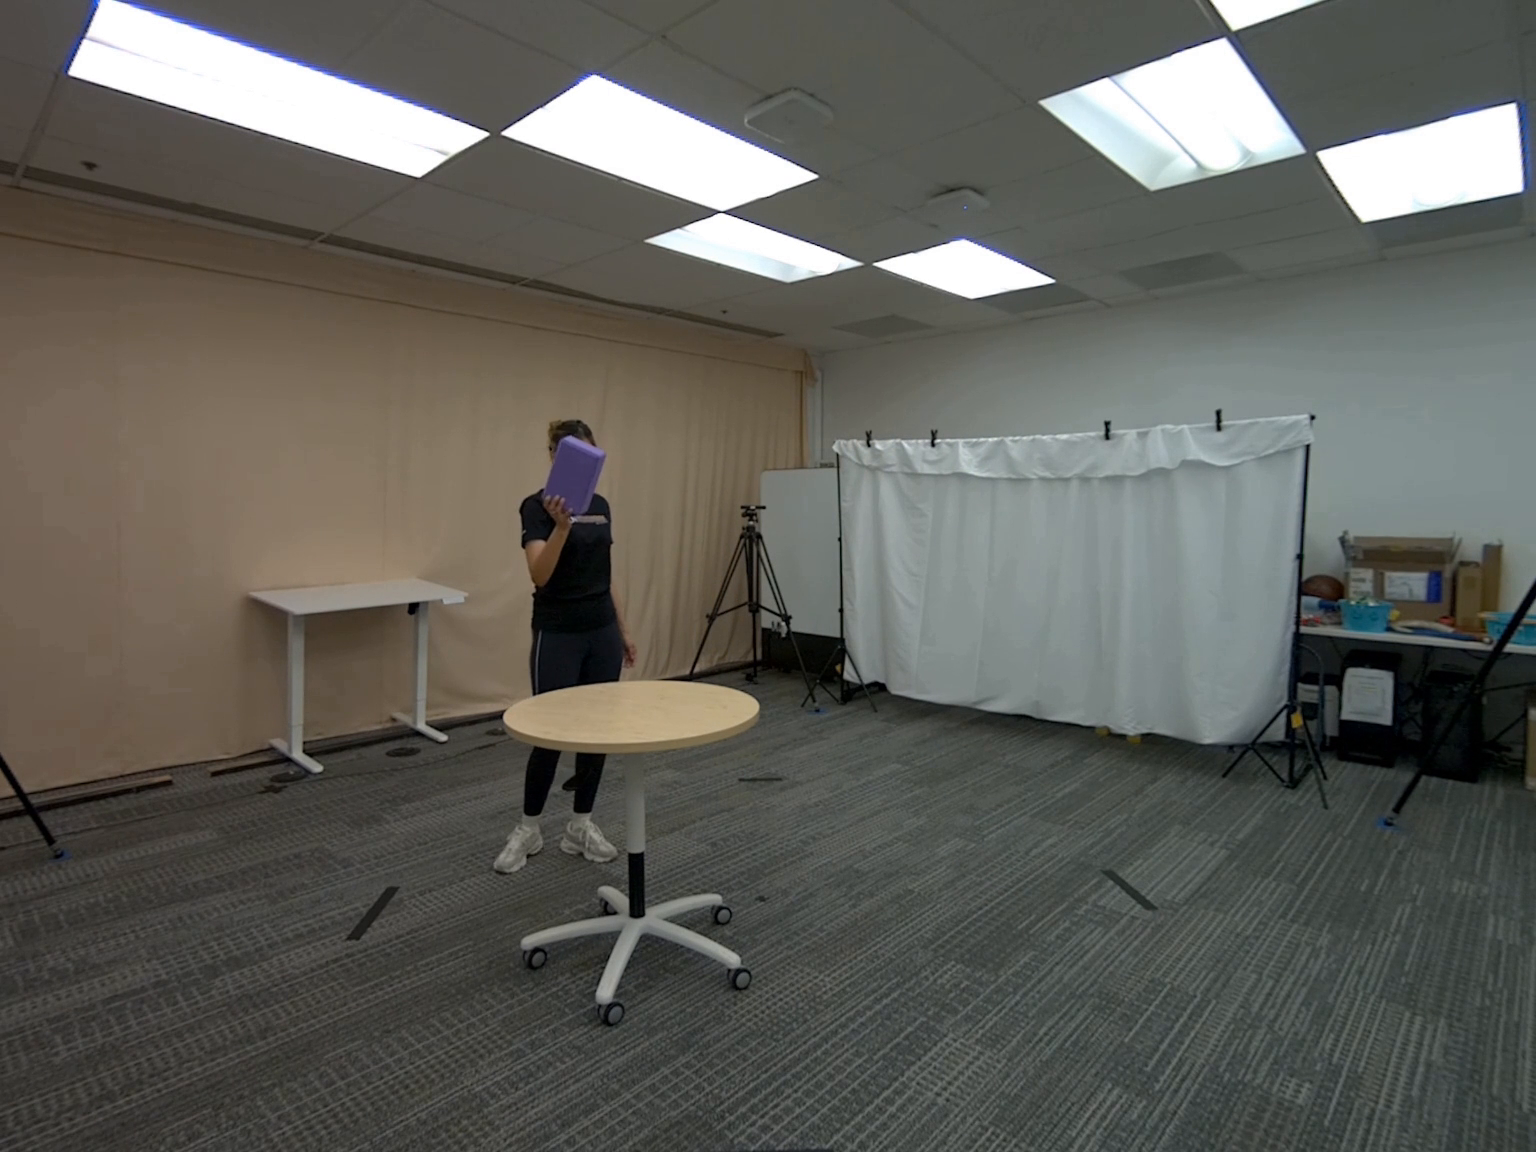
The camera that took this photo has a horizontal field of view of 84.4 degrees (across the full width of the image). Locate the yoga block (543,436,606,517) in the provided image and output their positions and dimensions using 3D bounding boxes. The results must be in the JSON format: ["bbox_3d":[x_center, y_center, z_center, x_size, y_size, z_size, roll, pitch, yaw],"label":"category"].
[{"bbox_3d":[-0.657,-0.337,2.811,0.150,0.228,0.076,26,21,5],"label":"yoga block"}]
